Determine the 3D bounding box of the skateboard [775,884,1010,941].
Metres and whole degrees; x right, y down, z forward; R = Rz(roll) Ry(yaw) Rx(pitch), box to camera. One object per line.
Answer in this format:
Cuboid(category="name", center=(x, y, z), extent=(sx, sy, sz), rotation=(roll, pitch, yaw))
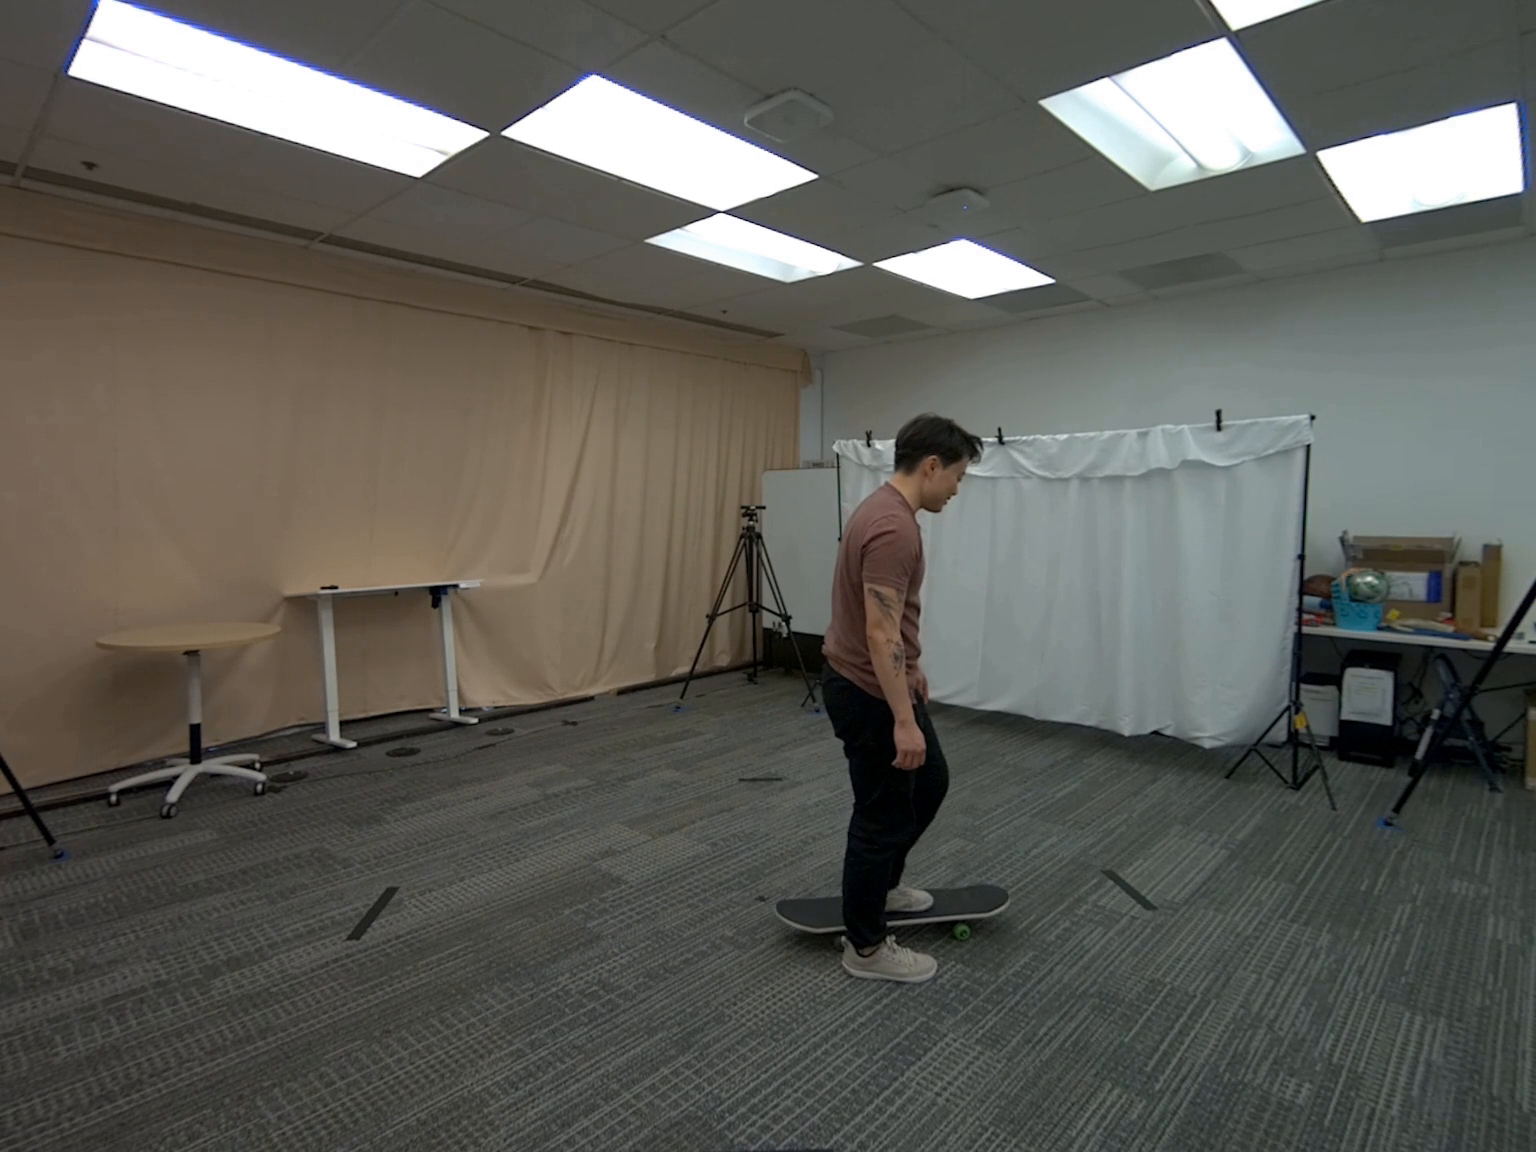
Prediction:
Cuboid(category="skateboard", center=(0.417, 1.104, 2.735), extent=(0.777, 0.110, 0.196), rotation=(0, 4, -9))
